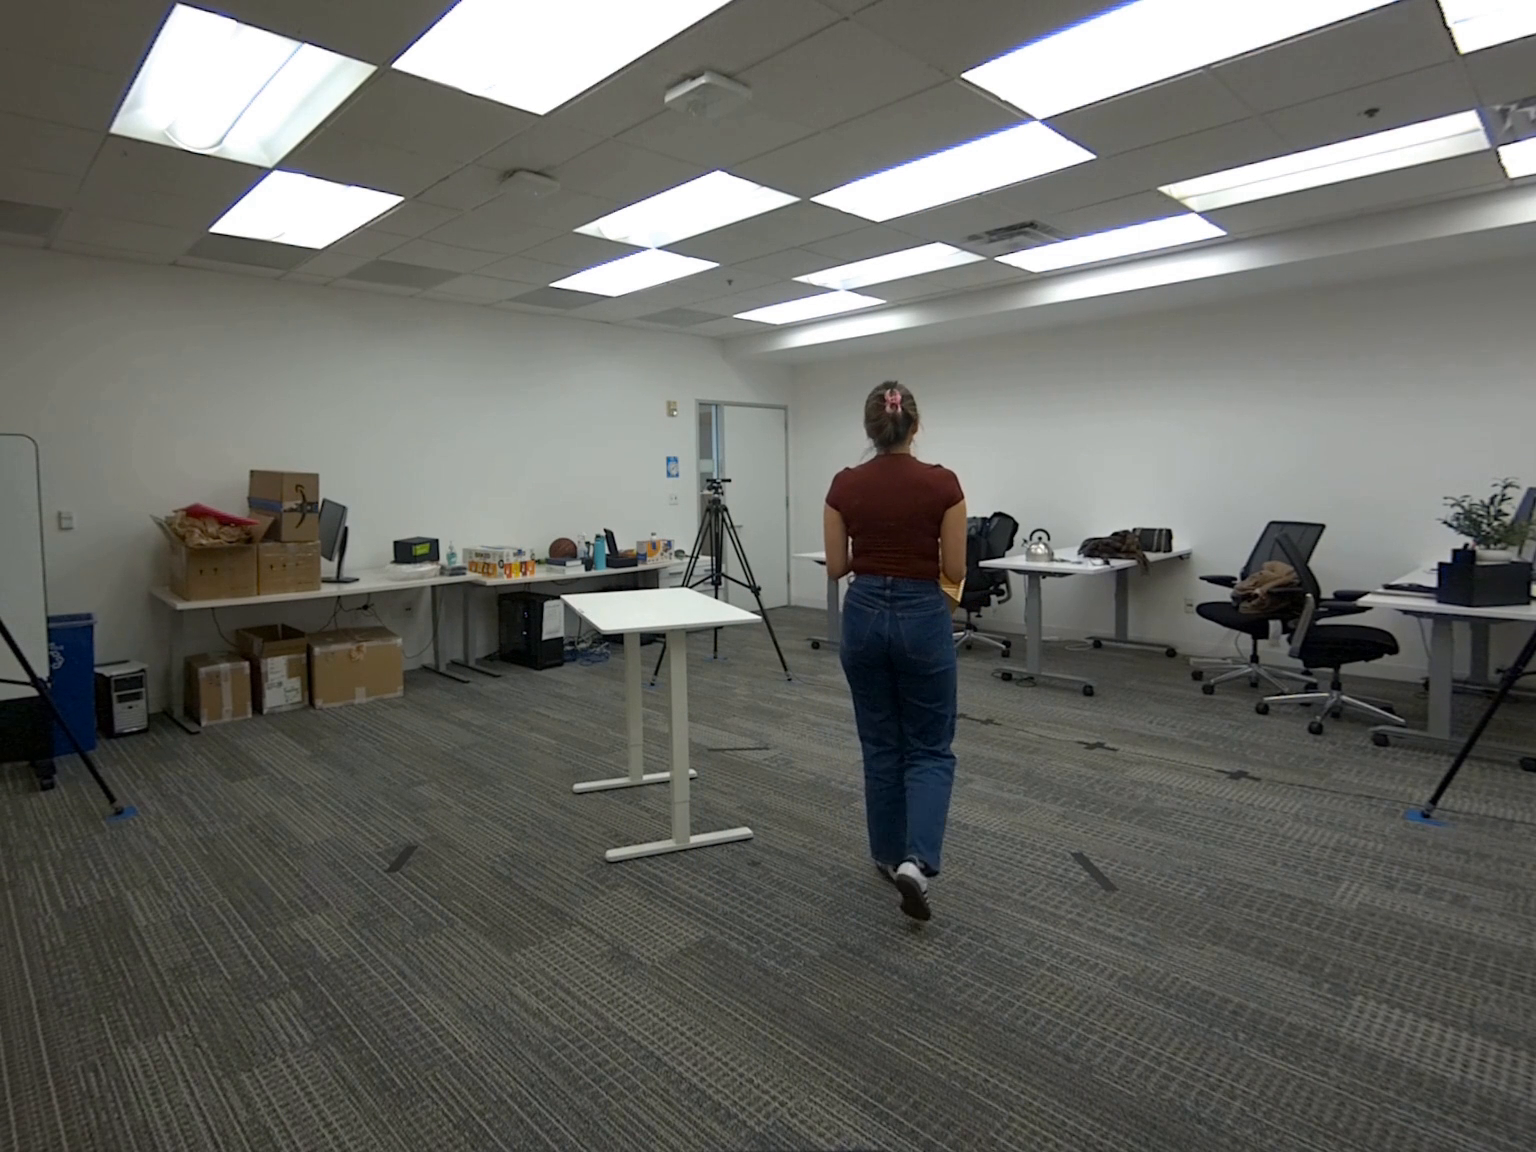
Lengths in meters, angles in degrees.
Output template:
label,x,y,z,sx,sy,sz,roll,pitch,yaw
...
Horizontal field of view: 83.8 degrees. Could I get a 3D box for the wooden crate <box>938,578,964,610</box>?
label,x,y,z,sx,sy,sz,roll,pitch,yaw
wooden crate,0.569,-0.047,3.120,0.307,0.270,0.323,2,15,16
